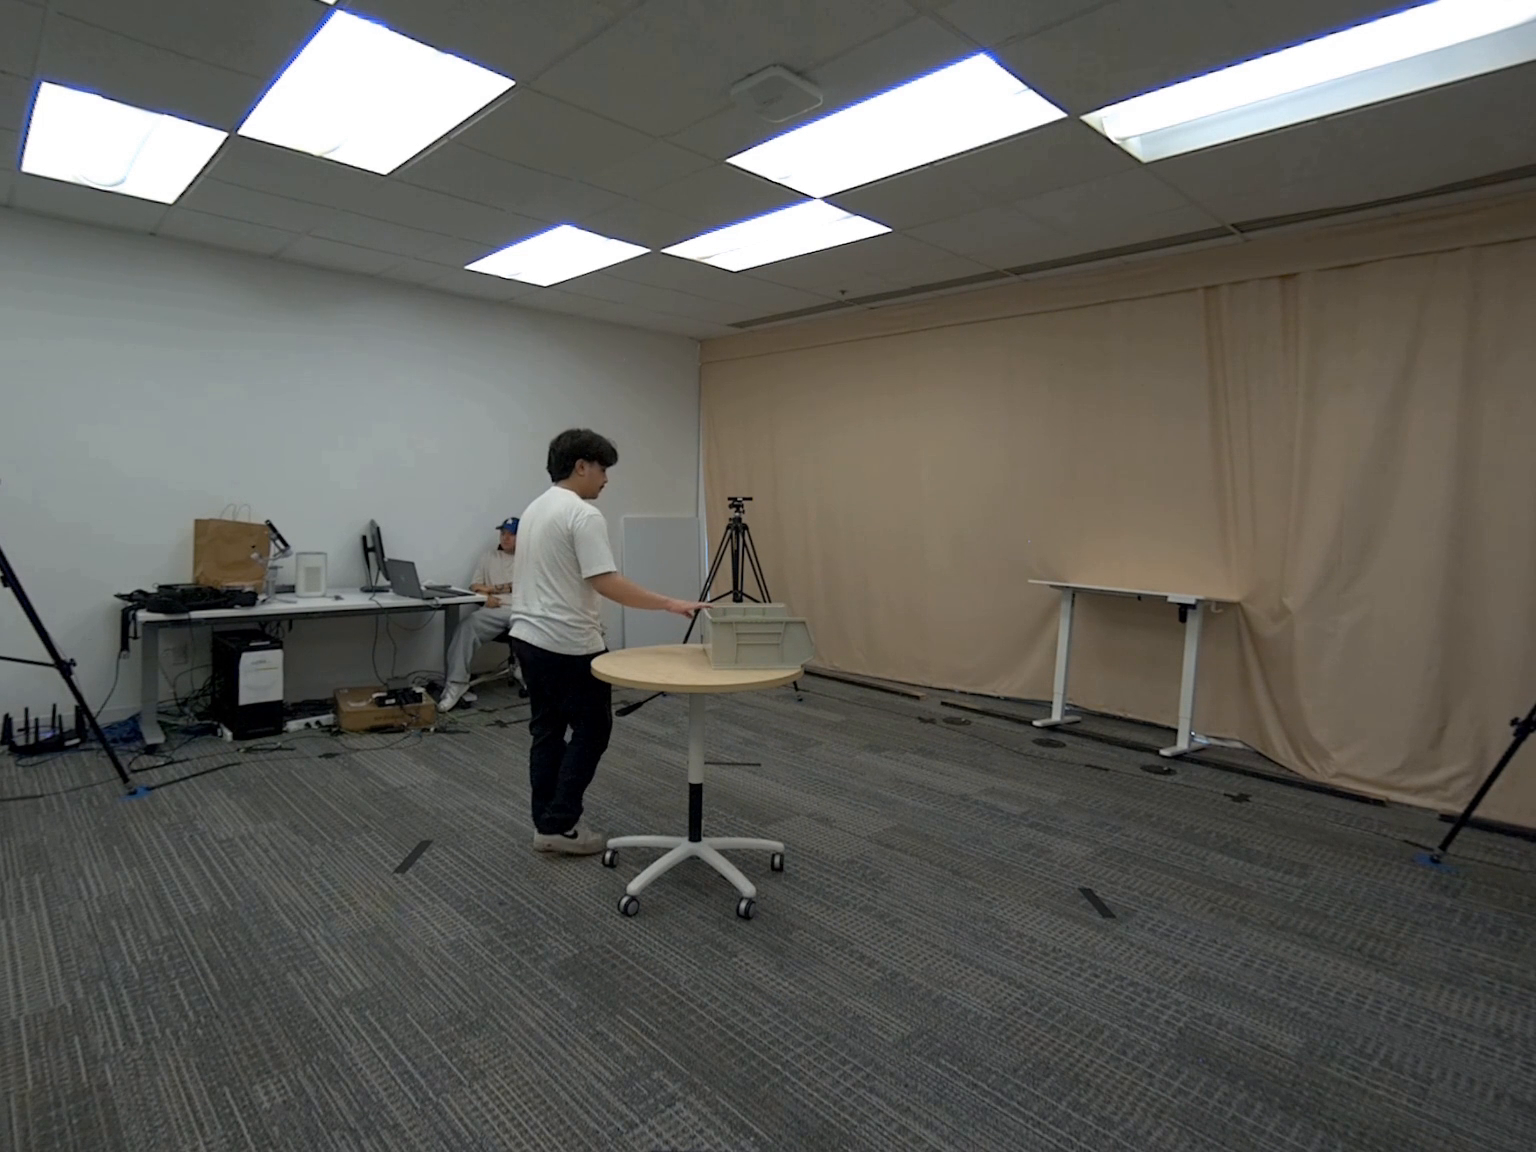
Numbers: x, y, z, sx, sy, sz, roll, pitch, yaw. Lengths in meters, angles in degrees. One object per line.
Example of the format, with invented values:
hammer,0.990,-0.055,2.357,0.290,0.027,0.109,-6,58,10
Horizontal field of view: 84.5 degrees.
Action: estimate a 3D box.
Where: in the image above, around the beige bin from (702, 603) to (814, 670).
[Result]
beige bin,-0.055,0.220,3.133,0.375,0.188,0.427,-1,5,-9
